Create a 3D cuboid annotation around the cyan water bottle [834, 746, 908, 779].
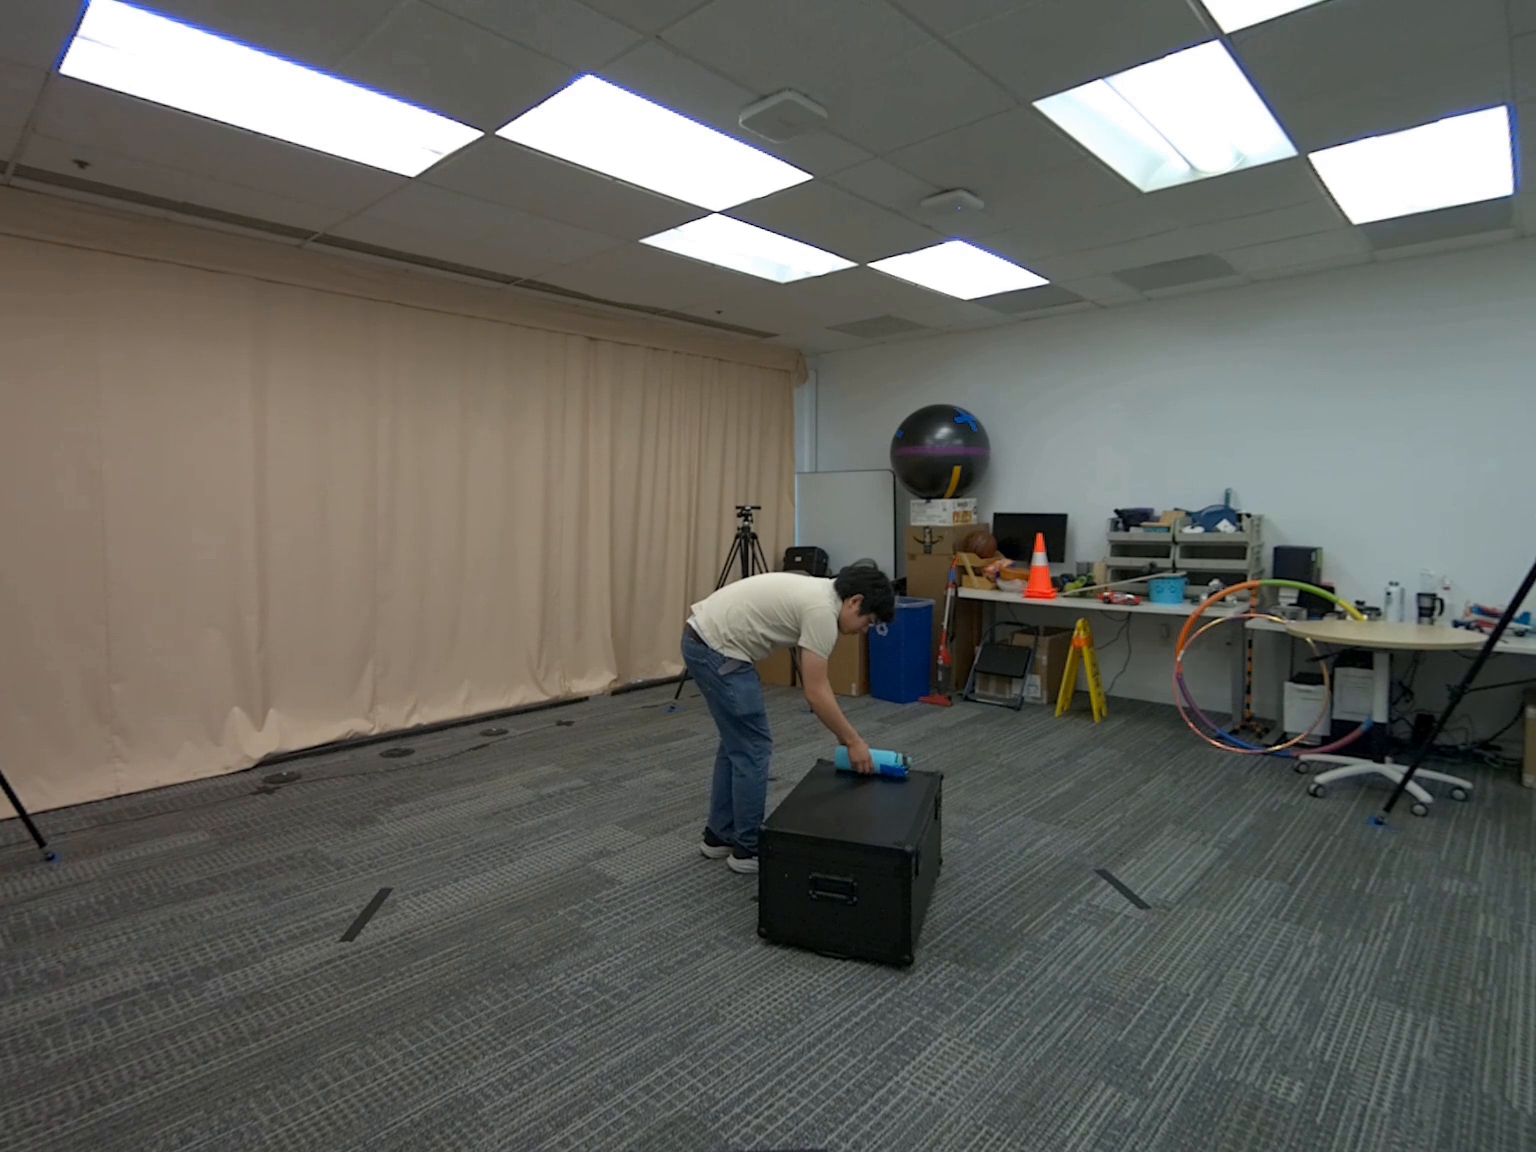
[{"bbox_3d":[0.410,0.709,3.191,0.289,0.092,0.091,1,4,17],"label":"cyan water bottle"}]
